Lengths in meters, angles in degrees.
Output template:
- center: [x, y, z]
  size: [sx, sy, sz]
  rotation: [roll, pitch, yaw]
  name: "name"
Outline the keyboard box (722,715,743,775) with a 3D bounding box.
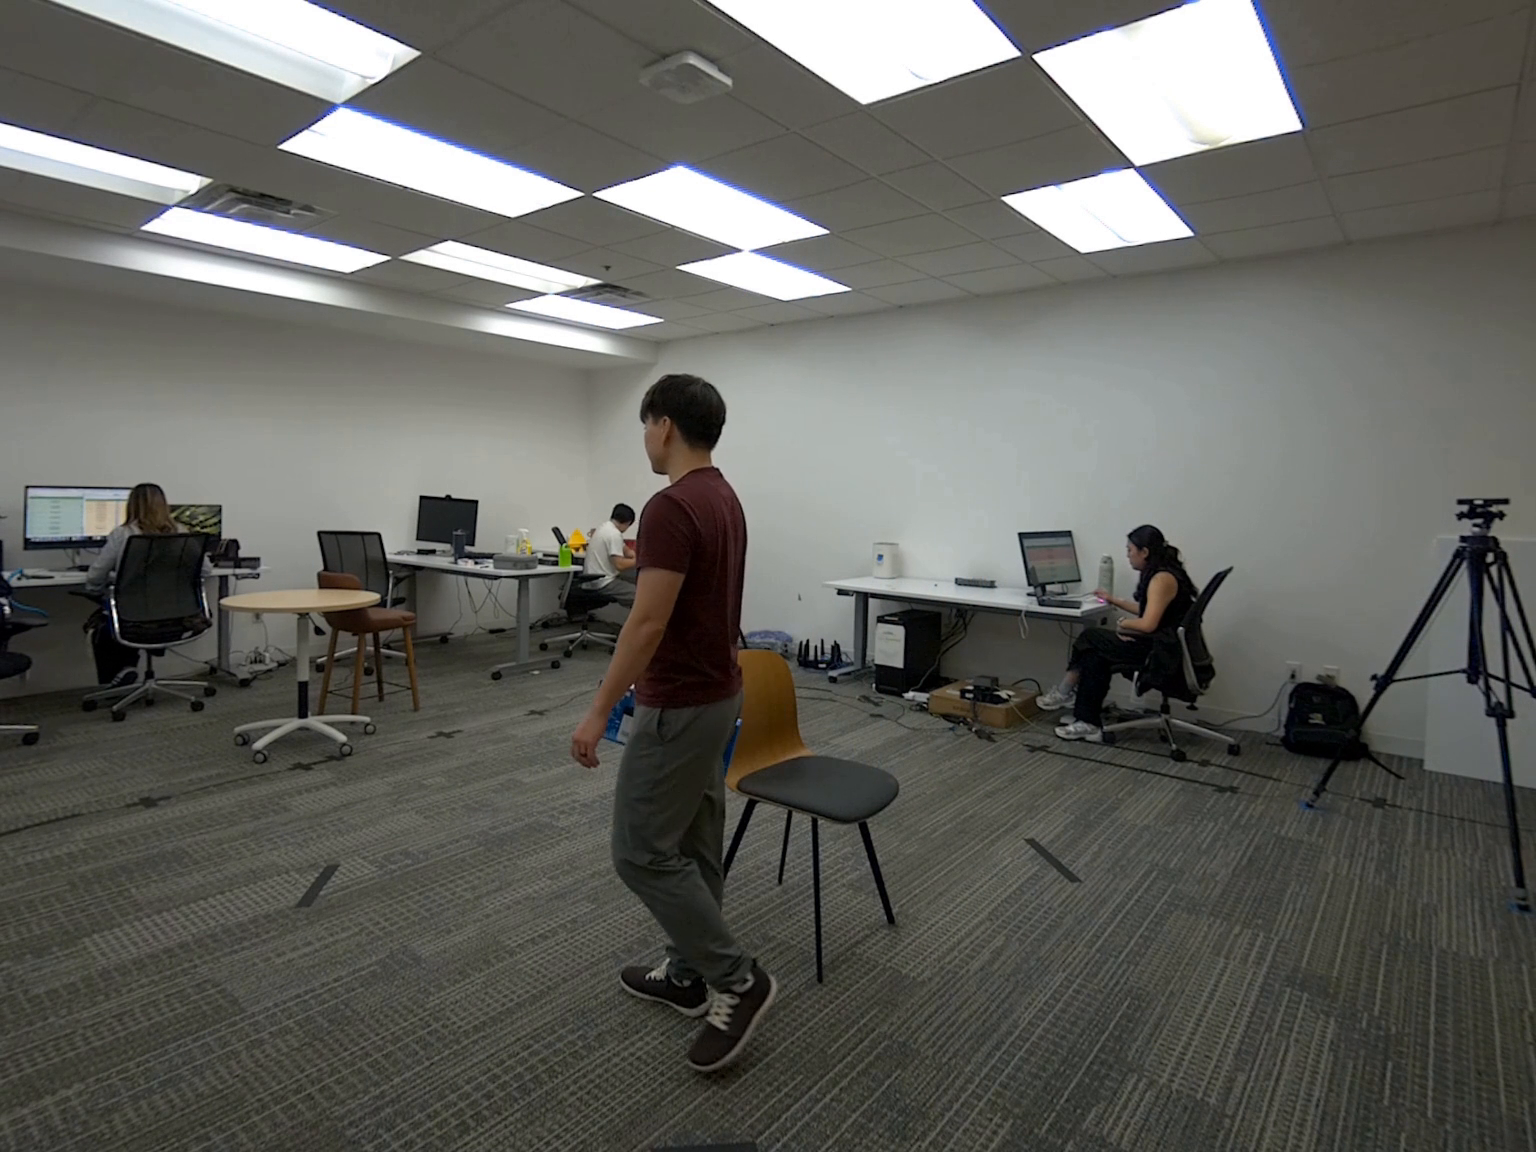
- center: [-0.306, 0.444, 2.519]
  size: [0.443, 0.175, 0.058]
  rotation: [16, 6, 10]
  name: "keyboard box"
